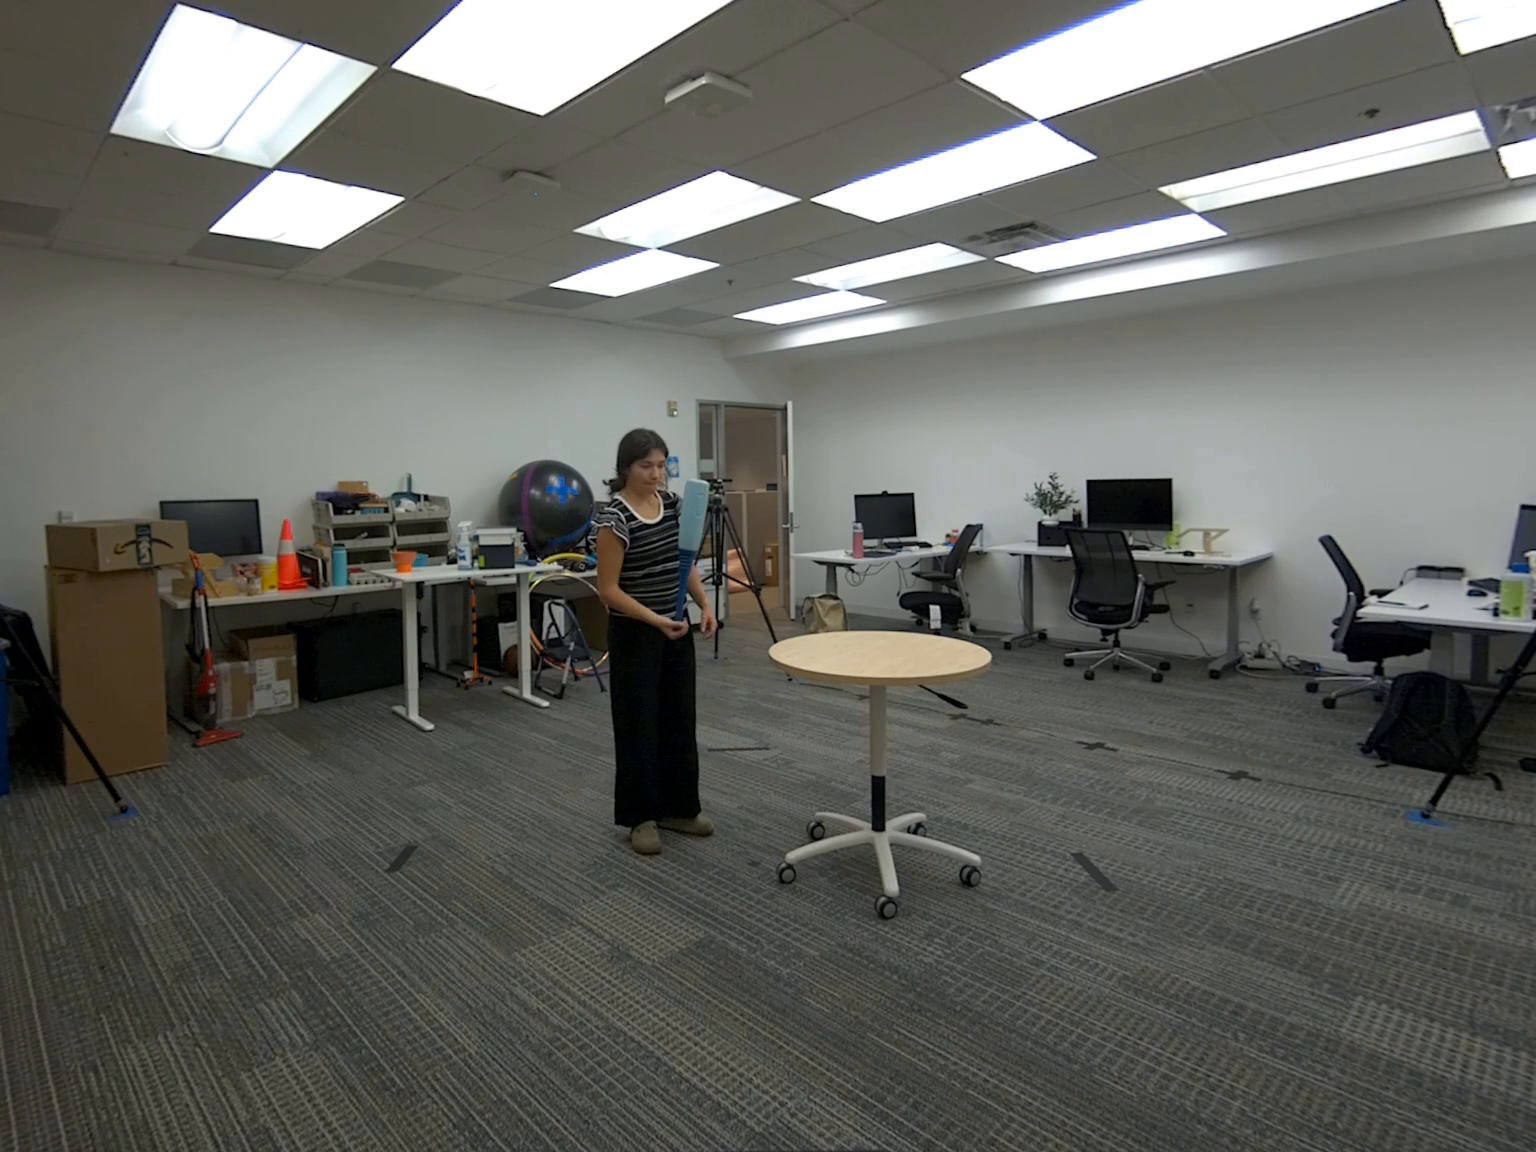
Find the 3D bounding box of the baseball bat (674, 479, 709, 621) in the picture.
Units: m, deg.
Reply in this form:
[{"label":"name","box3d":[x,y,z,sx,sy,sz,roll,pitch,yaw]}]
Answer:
[{"label":"baseball bat","box3d":[-0.295,-0.078,3.048,0.089,0.542,0.089,7,1,-2]}]
